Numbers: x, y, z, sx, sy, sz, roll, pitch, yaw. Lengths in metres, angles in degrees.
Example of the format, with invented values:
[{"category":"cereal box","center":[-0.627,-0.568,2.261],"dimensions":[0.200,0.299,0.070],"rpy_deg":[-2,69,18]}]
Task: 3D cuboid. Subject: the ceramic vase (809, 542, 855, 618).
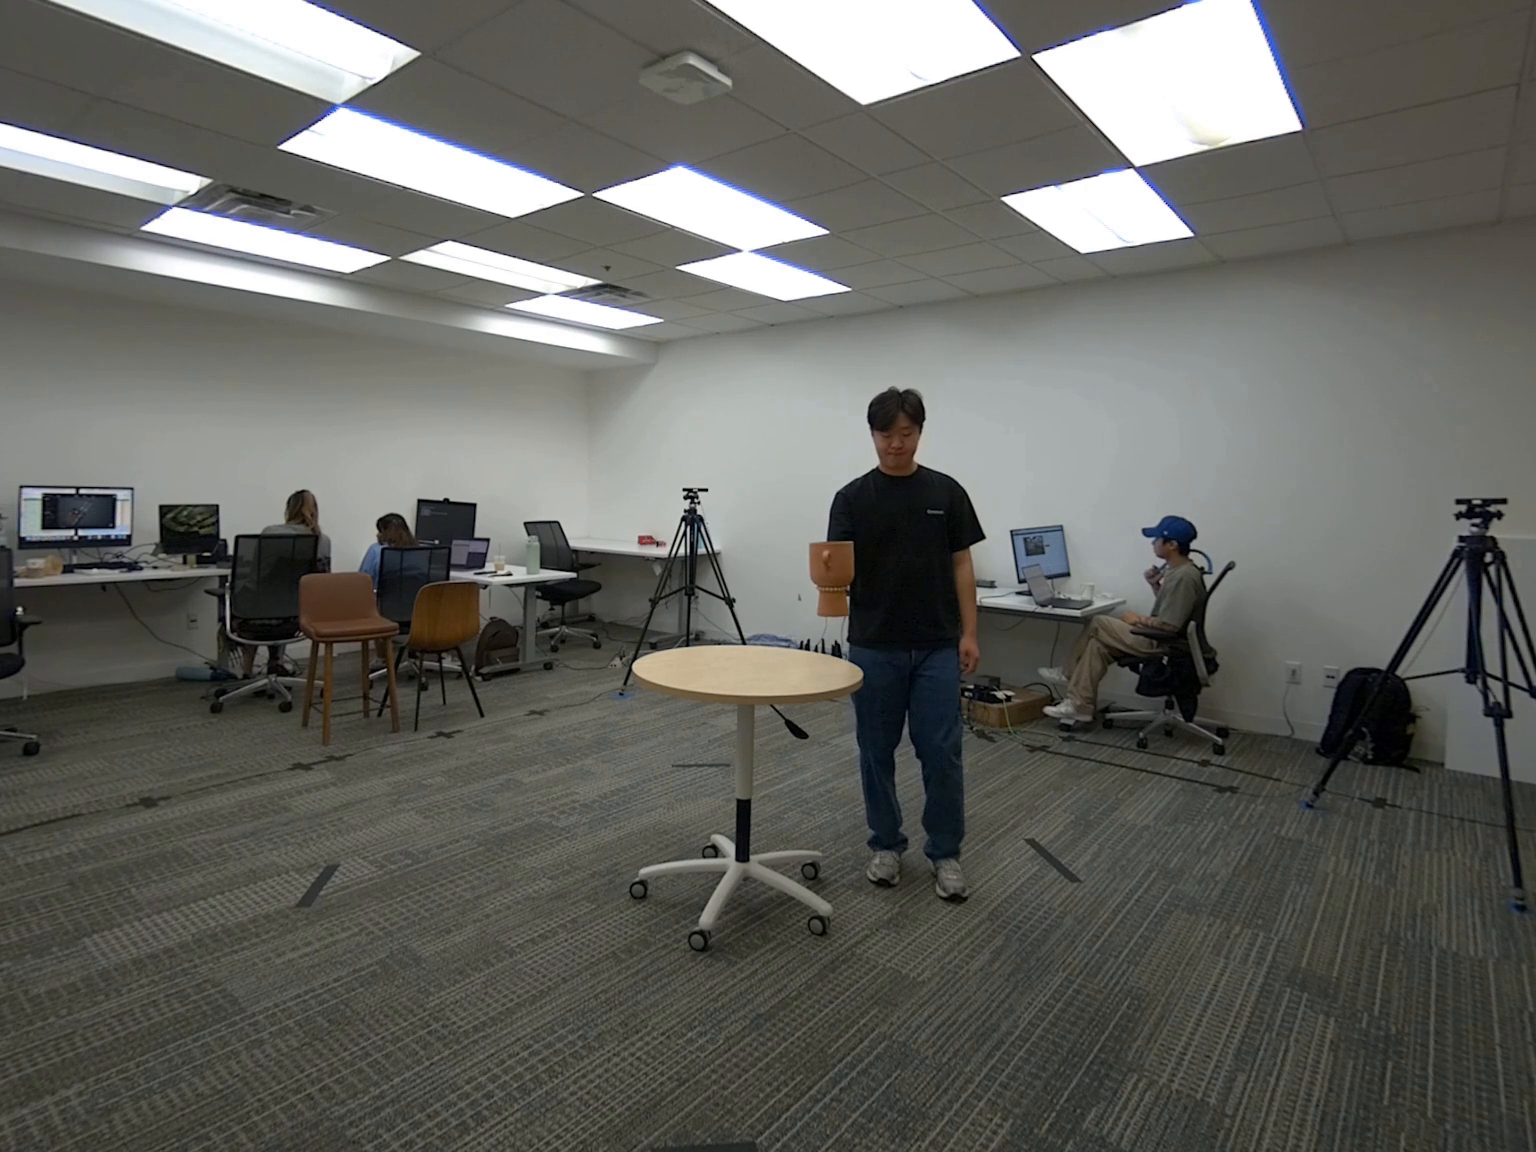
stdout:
[{"category":"ceramic vase","center":[0.186,0.009,2.552],"dimensions":[0.154,0.220,0.139],"rpy_deg":[-2,1,-36]}]
